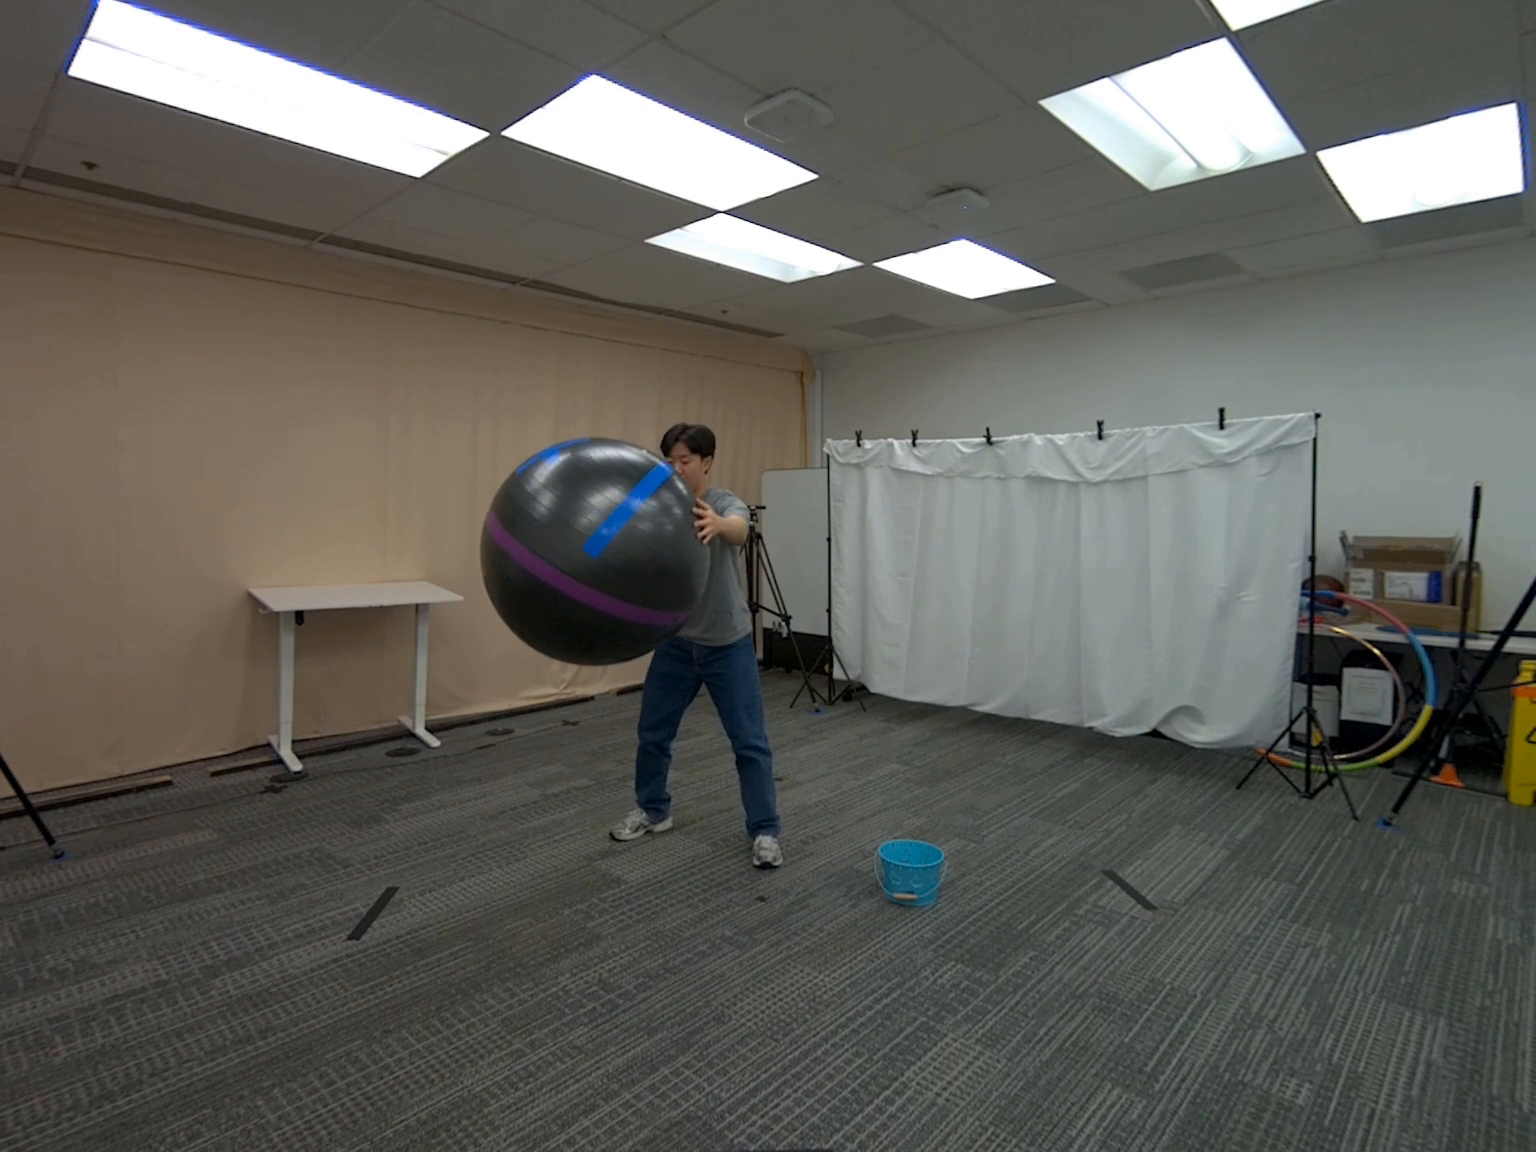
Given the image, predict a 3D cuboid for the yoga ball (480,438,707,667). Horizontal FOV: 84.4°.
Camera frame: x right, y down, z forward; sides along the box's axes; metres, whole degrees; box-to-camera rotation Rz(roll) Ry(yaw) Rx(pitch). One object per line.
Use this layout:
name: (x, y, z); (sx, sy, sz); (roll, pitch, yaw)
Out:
yoga ball: (-0.583, -0.066, 2.823); (0.757, 0.756, 0.760); (0, 4, -2)
